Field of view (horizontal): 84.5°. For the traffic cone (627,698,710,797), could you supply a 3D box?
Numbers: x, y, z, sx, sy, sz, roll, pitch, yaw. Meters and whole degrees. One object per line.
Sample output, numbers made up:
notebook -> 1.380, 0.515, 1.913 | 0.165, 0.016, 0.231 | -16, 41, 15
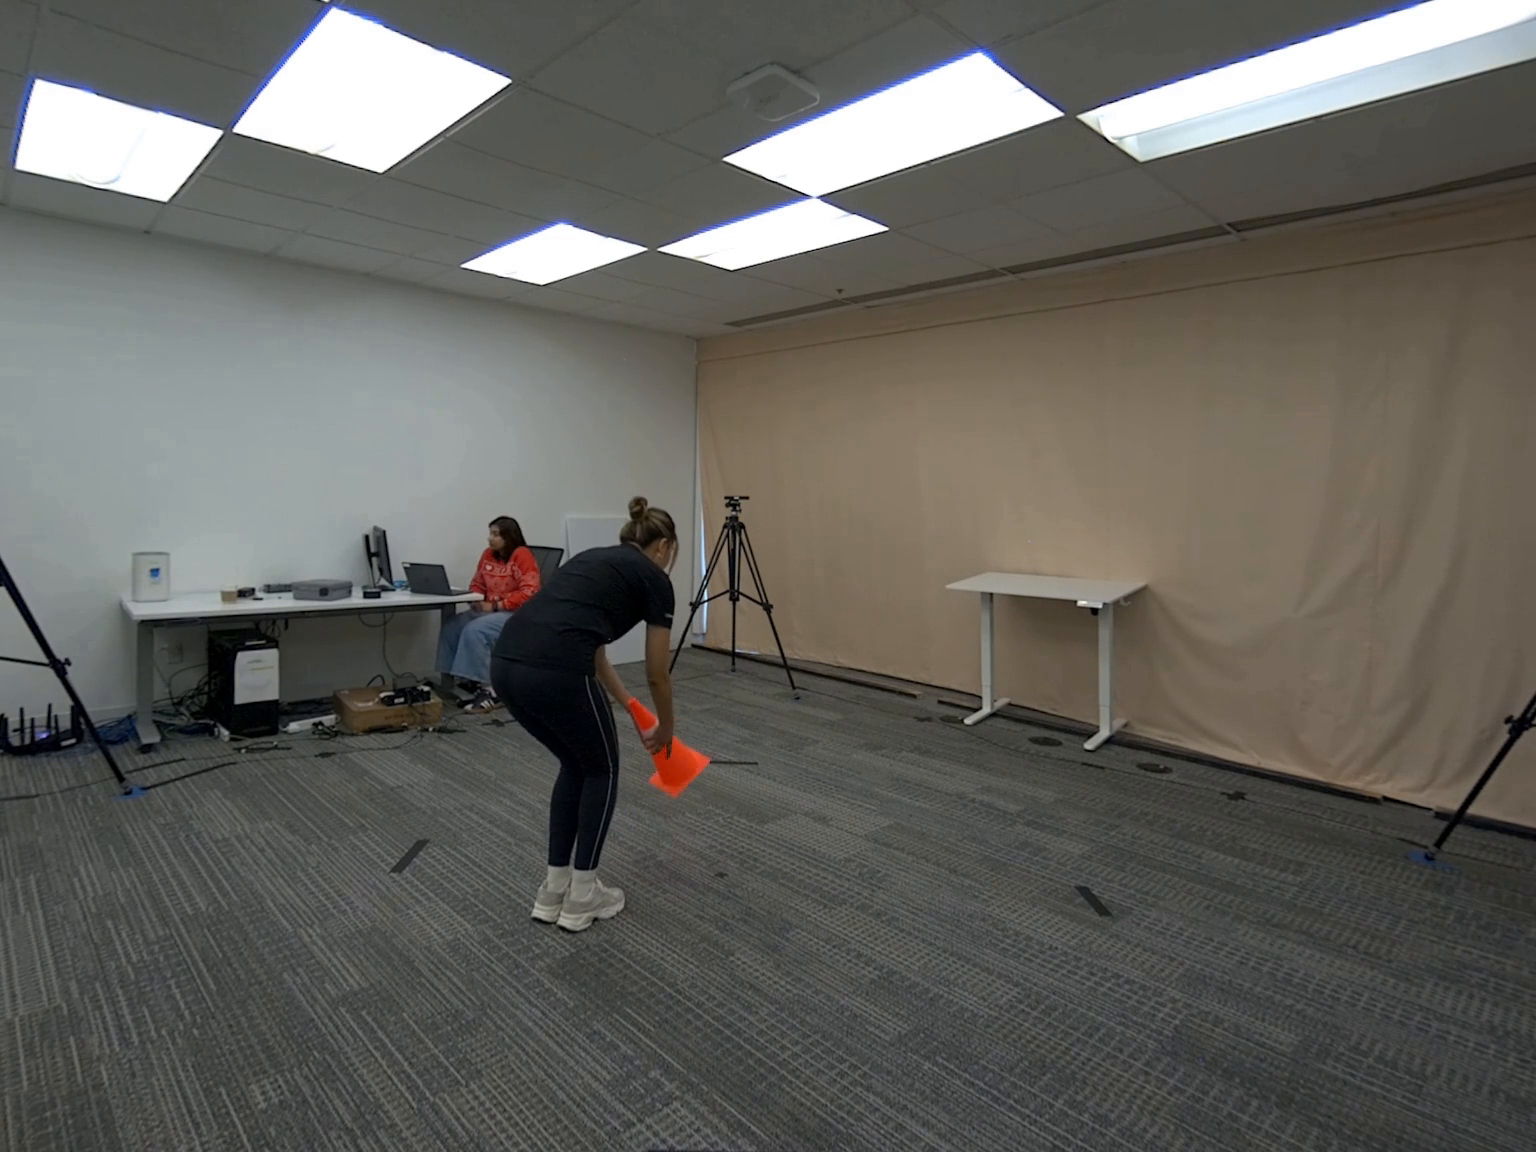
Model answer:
traffic cone -> -0.424, 0.594, 3.159 | 0.202, 0.375, 0.210 | -38, 27, -22
